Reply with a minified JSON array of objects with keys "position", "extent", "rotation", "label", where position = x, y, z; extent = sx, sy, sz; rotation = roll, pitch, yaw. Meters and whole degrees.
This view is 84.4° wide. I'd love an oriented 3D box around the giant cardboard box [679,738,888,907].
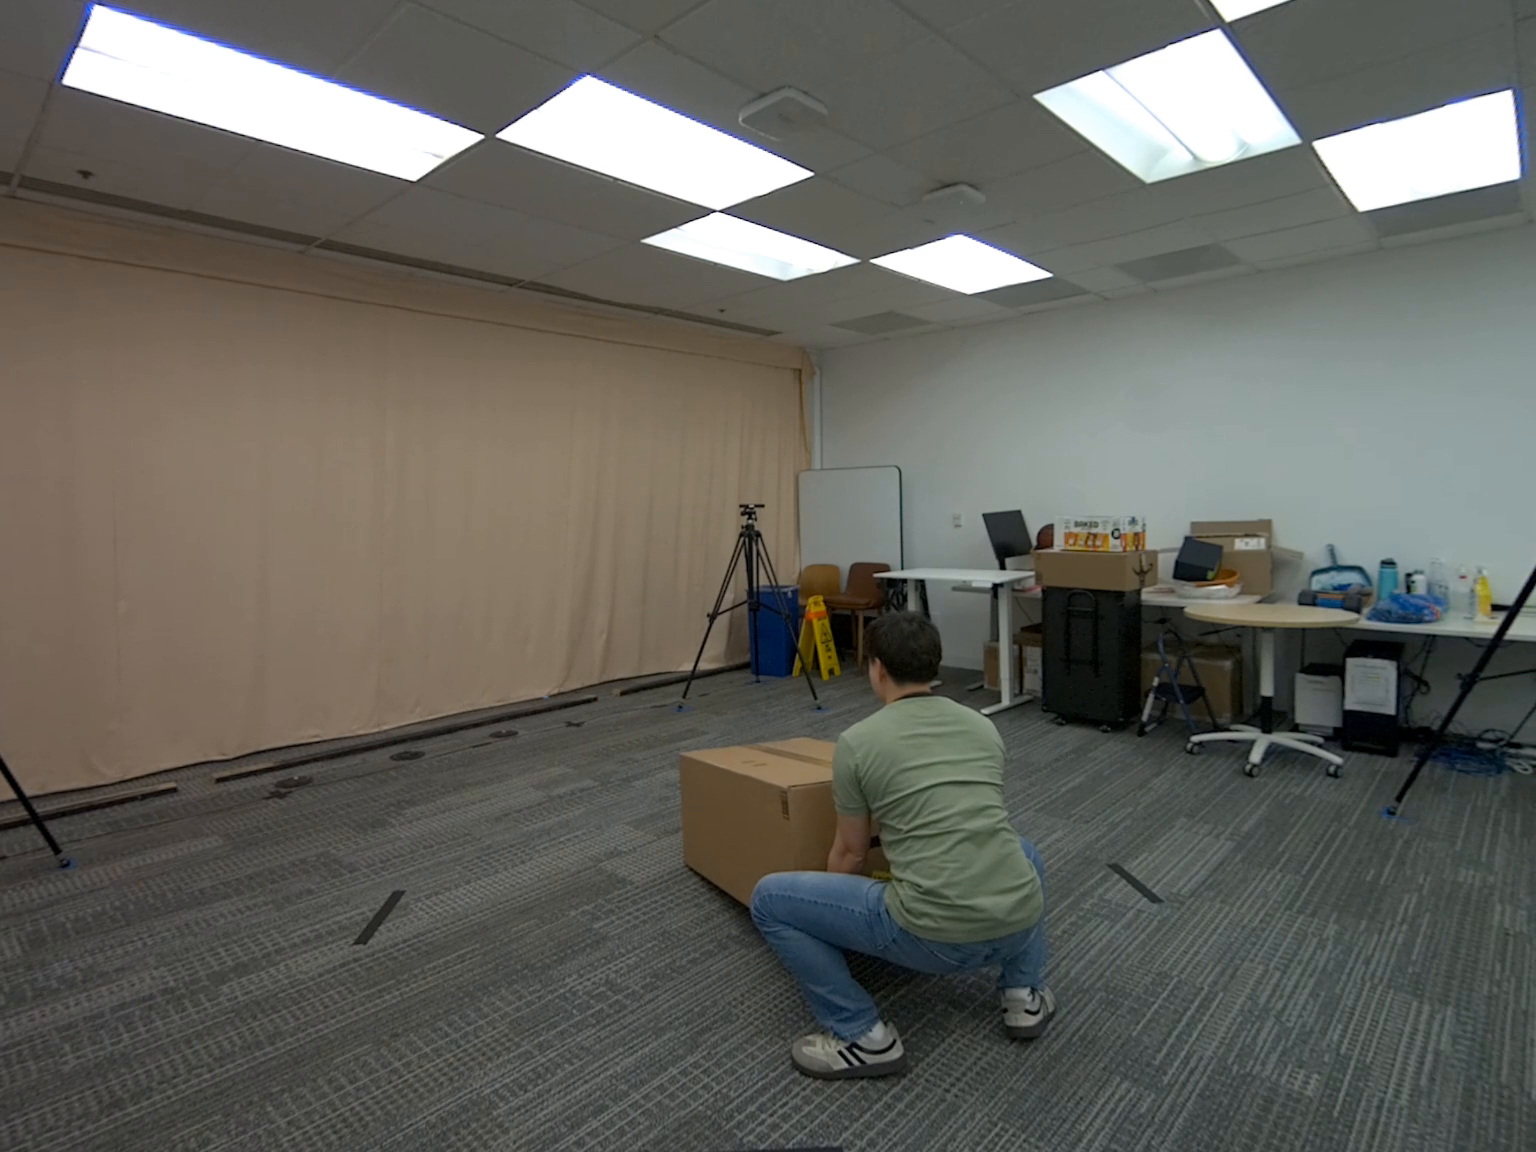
[{"position":[0.132,0.839,2.913],"extent":[0.565,0.428,1.044],"rotation":[-2,-5,-23],"label":"giant cardboard box"}]
